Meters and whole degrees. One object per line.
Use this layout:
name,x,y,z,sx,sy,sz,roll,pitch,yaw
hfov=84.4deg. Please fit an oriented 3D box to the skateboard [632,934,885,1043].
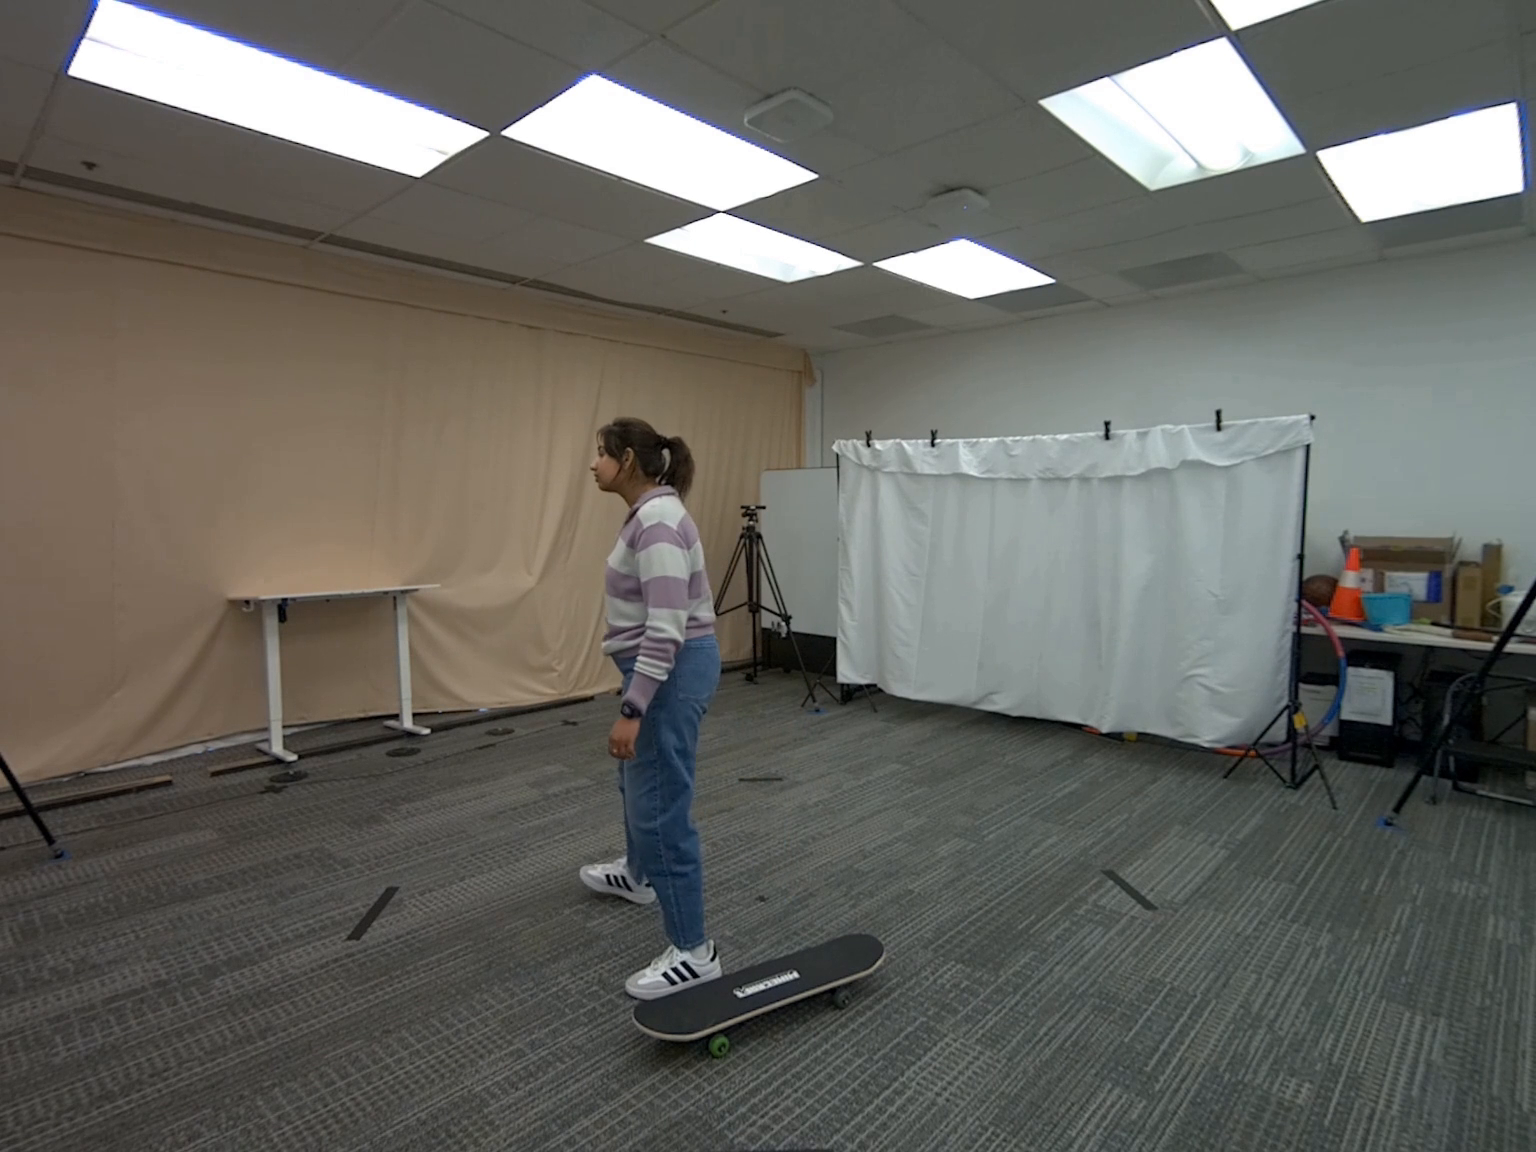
skateboard,0.002,1.146,2.299,0.764,0.110,0.199,-3,5,-31
